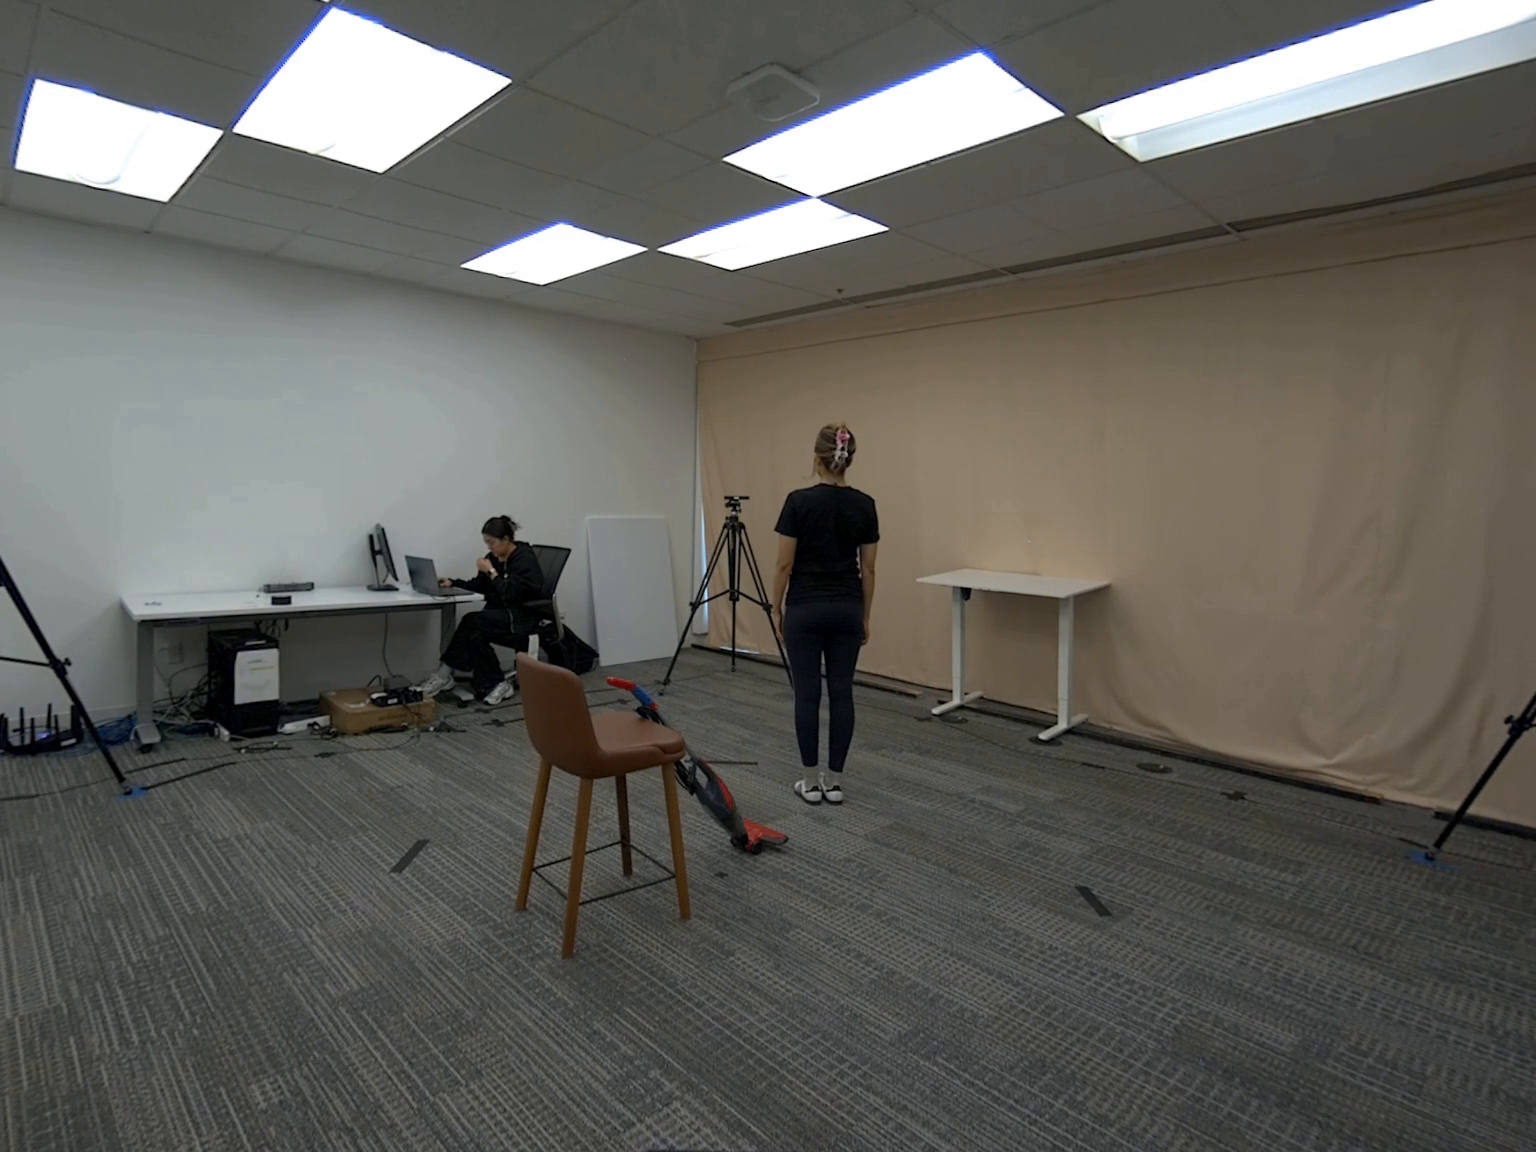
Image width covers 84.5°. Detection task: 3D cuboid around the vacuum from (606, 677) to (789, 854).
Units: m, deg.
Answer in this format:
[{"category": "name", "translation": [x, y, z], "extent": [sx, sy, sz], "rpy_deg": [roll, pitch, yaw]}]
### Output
[{"category": "vacuum", "translation": [-0.289, 0.708, 3.100], "extent": [0.259, 1.020, 0.144], "rpy_deg": [2, 47, 42]}]
